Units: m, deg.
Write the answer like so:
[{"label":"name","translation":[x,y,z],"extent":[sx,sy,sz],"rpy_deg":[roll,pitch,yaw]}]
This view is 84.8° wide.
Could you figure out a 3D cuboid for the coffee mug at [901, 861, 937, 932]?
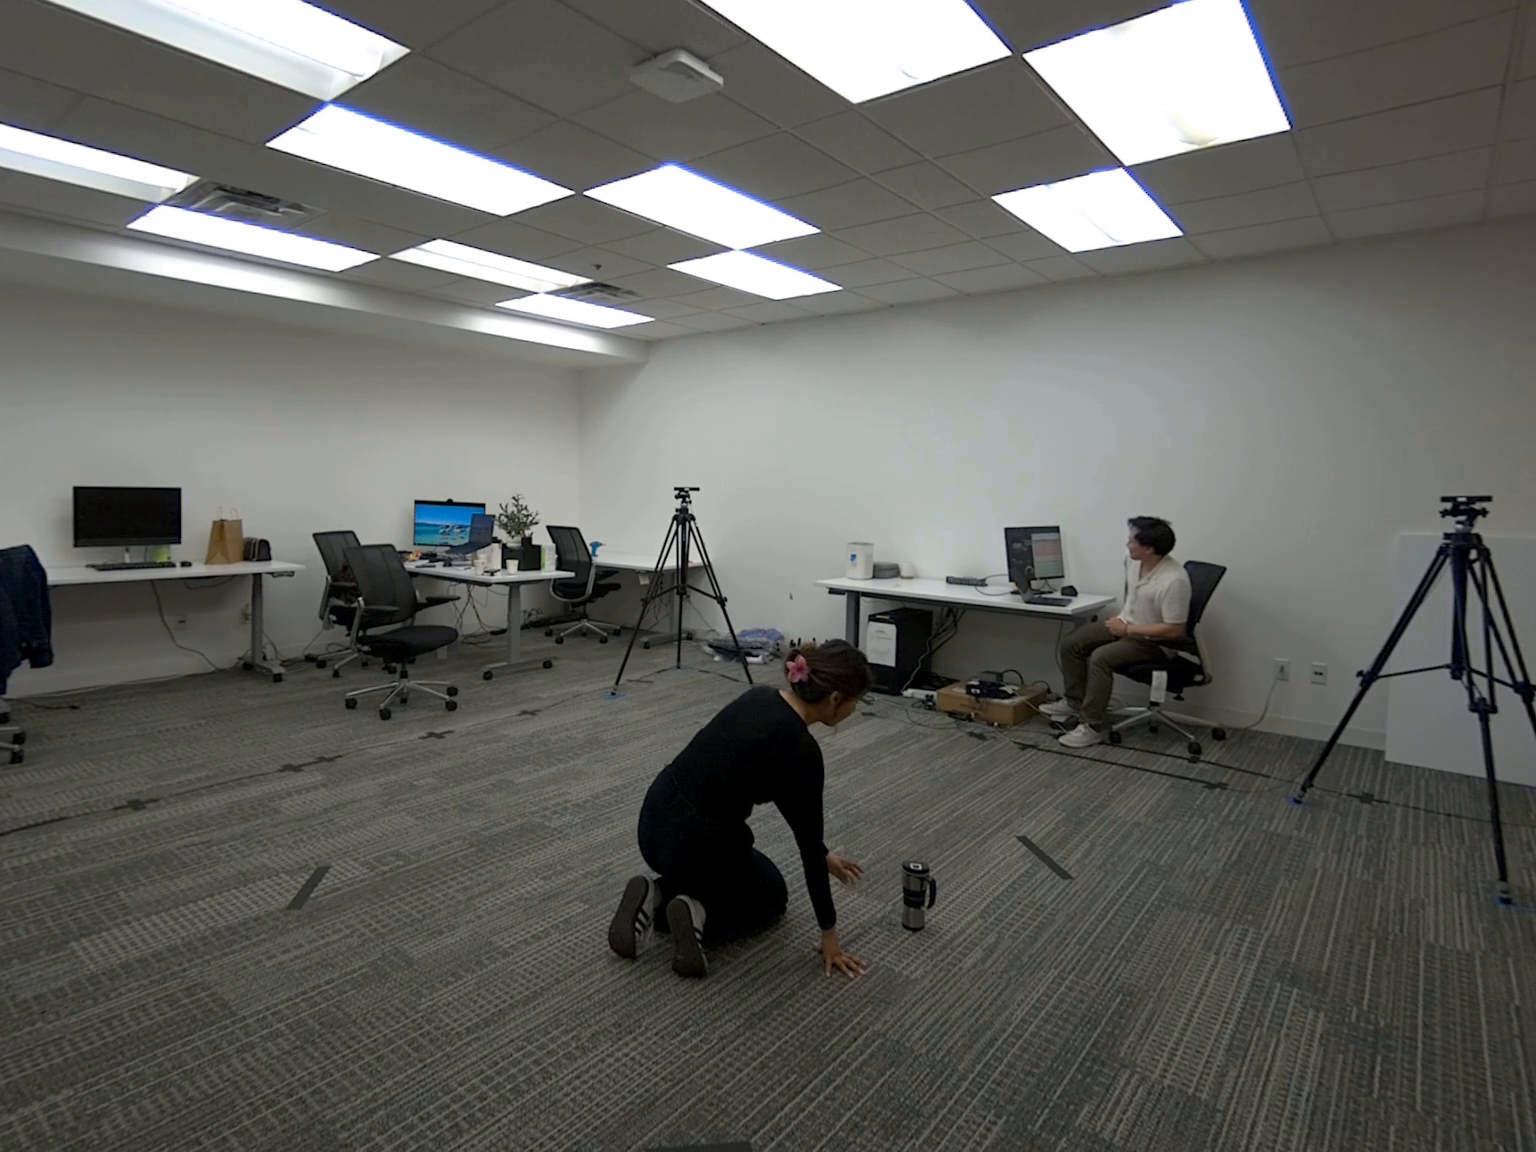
[{"label":"coffee mug","translation":[0.469,1.029,2.696],"extent":[0.086,0.203,0.124],"rpy_deg":[3,1,-16]}]
